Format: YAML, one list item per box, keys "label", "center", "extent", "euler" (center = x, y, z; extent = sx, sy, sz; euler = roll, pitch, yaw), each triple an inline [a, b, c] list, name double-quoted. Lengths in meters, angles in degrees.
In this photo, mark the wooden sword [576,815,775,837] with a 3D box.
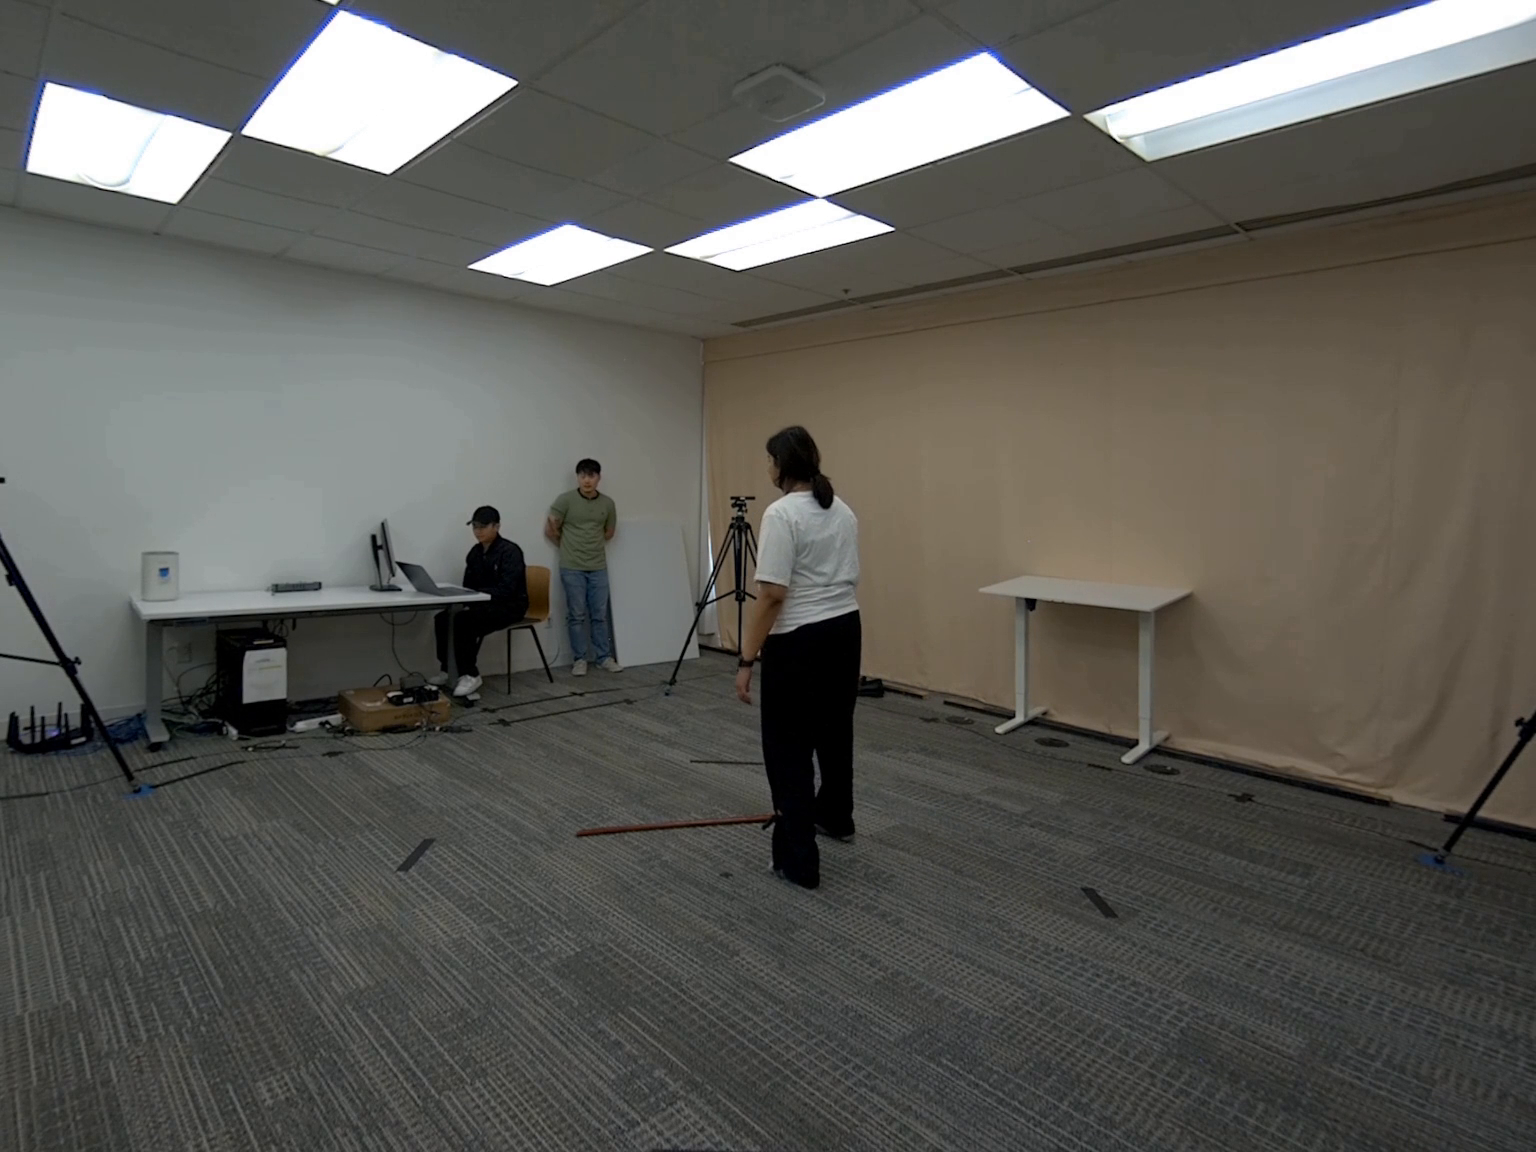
- label: "wooden sword"
  center: [-0.296, 1.034, 3.546]
  extent: [1.013, 0.024, 0.052]
  euler: [0, 10, -14]
